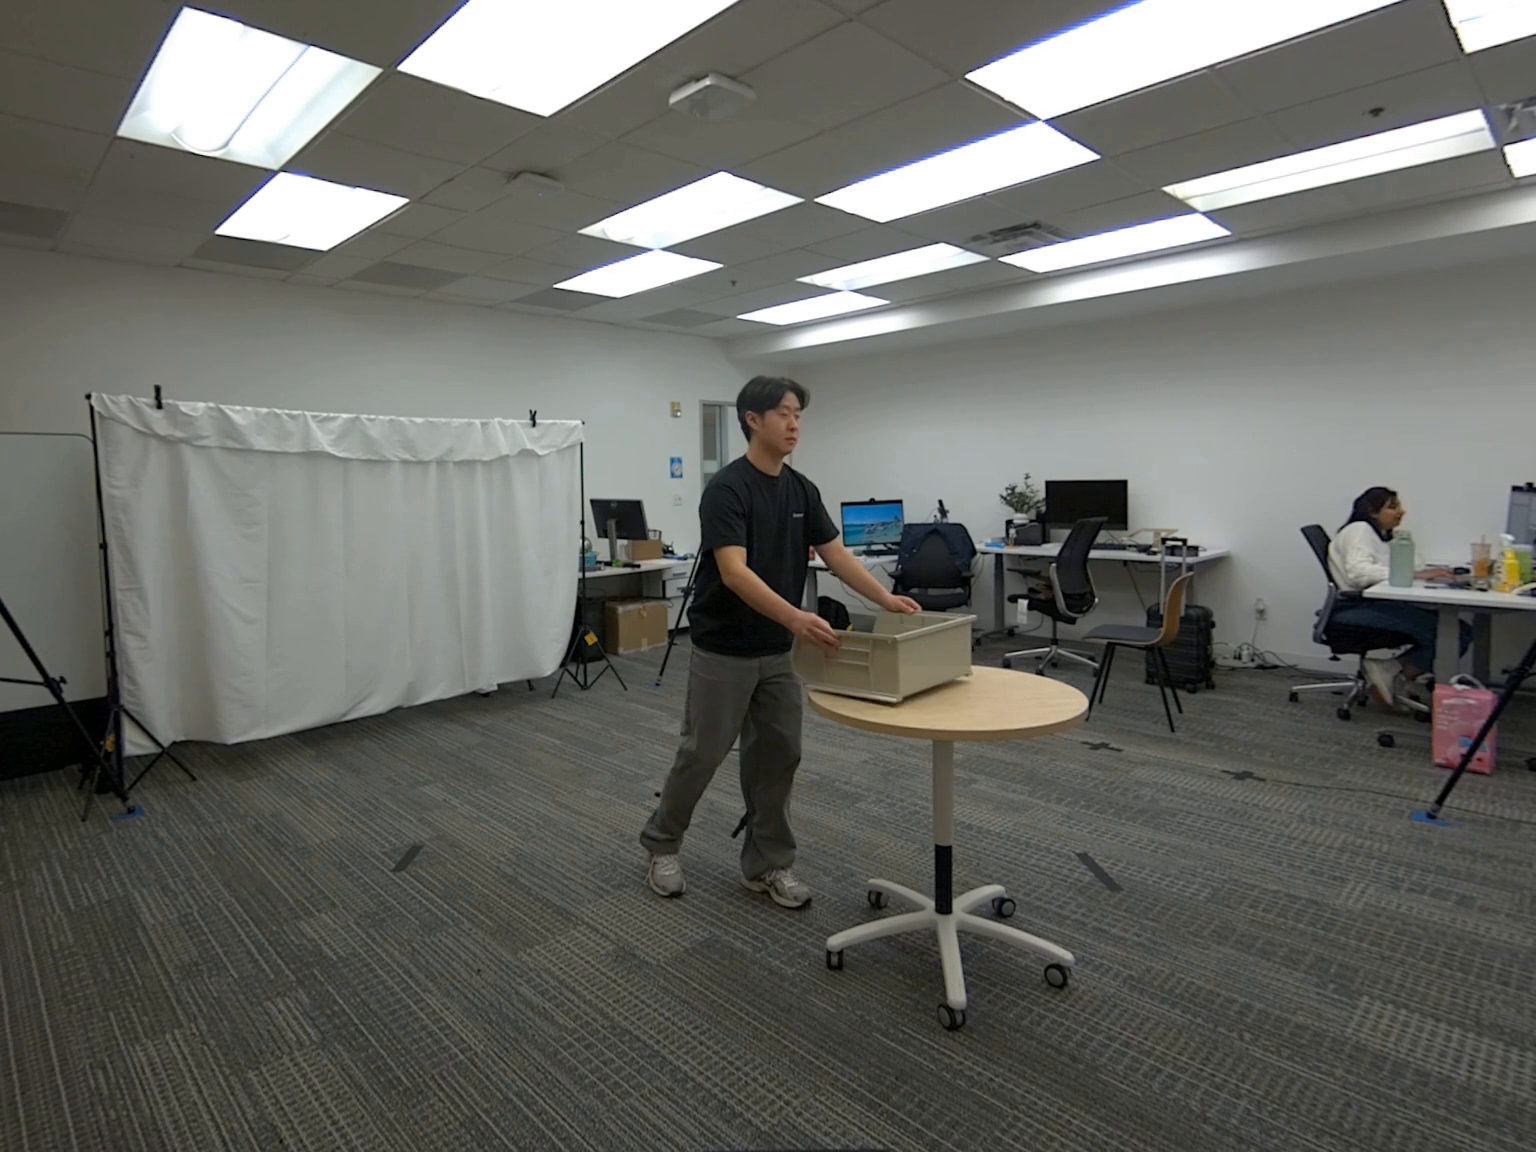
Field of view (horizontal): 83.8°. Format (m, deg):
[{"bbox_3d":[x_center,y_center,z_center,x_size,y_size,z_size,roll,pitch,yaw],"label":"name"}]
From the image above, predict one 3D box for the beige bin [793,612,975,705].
[{"bbox_3d":[0.343,0.220,2.523,0.389,0.188,0.411,4,8,43],"label":"beige bin"}]
